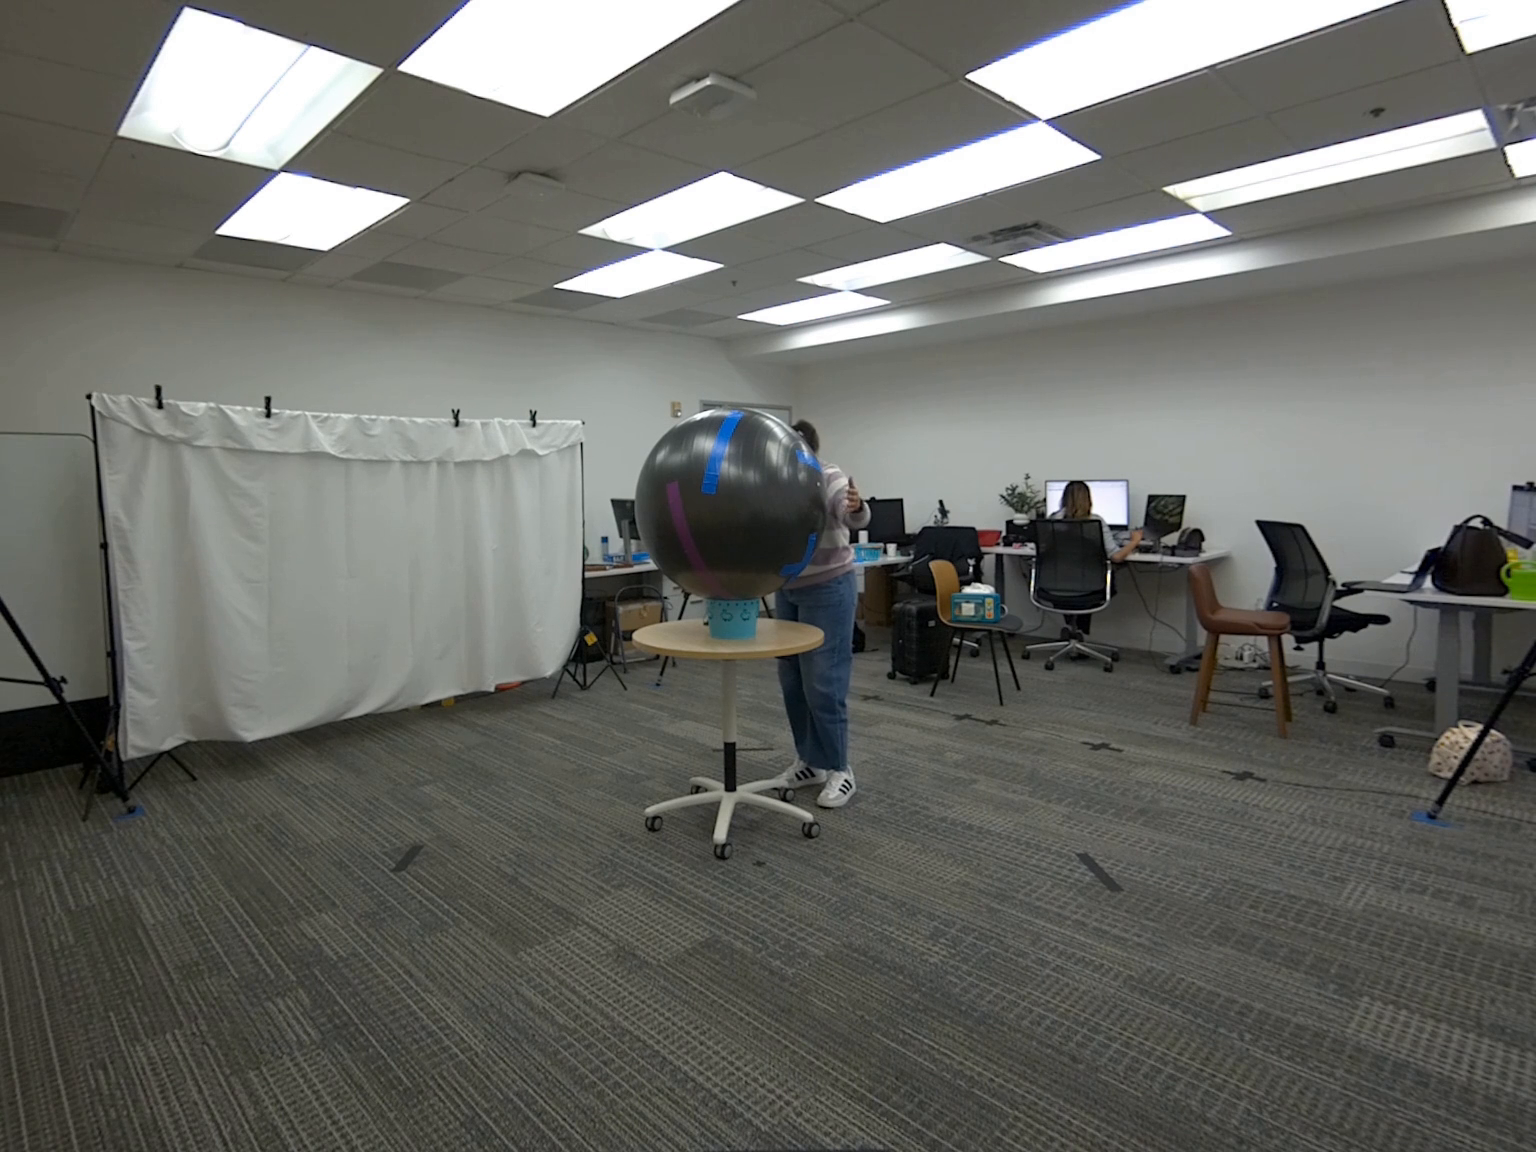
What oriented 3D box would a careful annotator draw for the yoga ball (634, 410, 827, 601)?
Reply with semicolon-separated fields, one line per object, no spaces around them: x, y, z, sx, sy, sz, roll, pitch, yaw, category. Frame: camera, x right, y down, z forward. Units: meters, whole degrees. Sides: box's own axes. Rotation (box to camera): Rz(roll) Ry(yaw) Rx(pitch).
-0.154;-0.277;3.359;0.757;0.755;0.762;-1;5;-2;yoga ball
